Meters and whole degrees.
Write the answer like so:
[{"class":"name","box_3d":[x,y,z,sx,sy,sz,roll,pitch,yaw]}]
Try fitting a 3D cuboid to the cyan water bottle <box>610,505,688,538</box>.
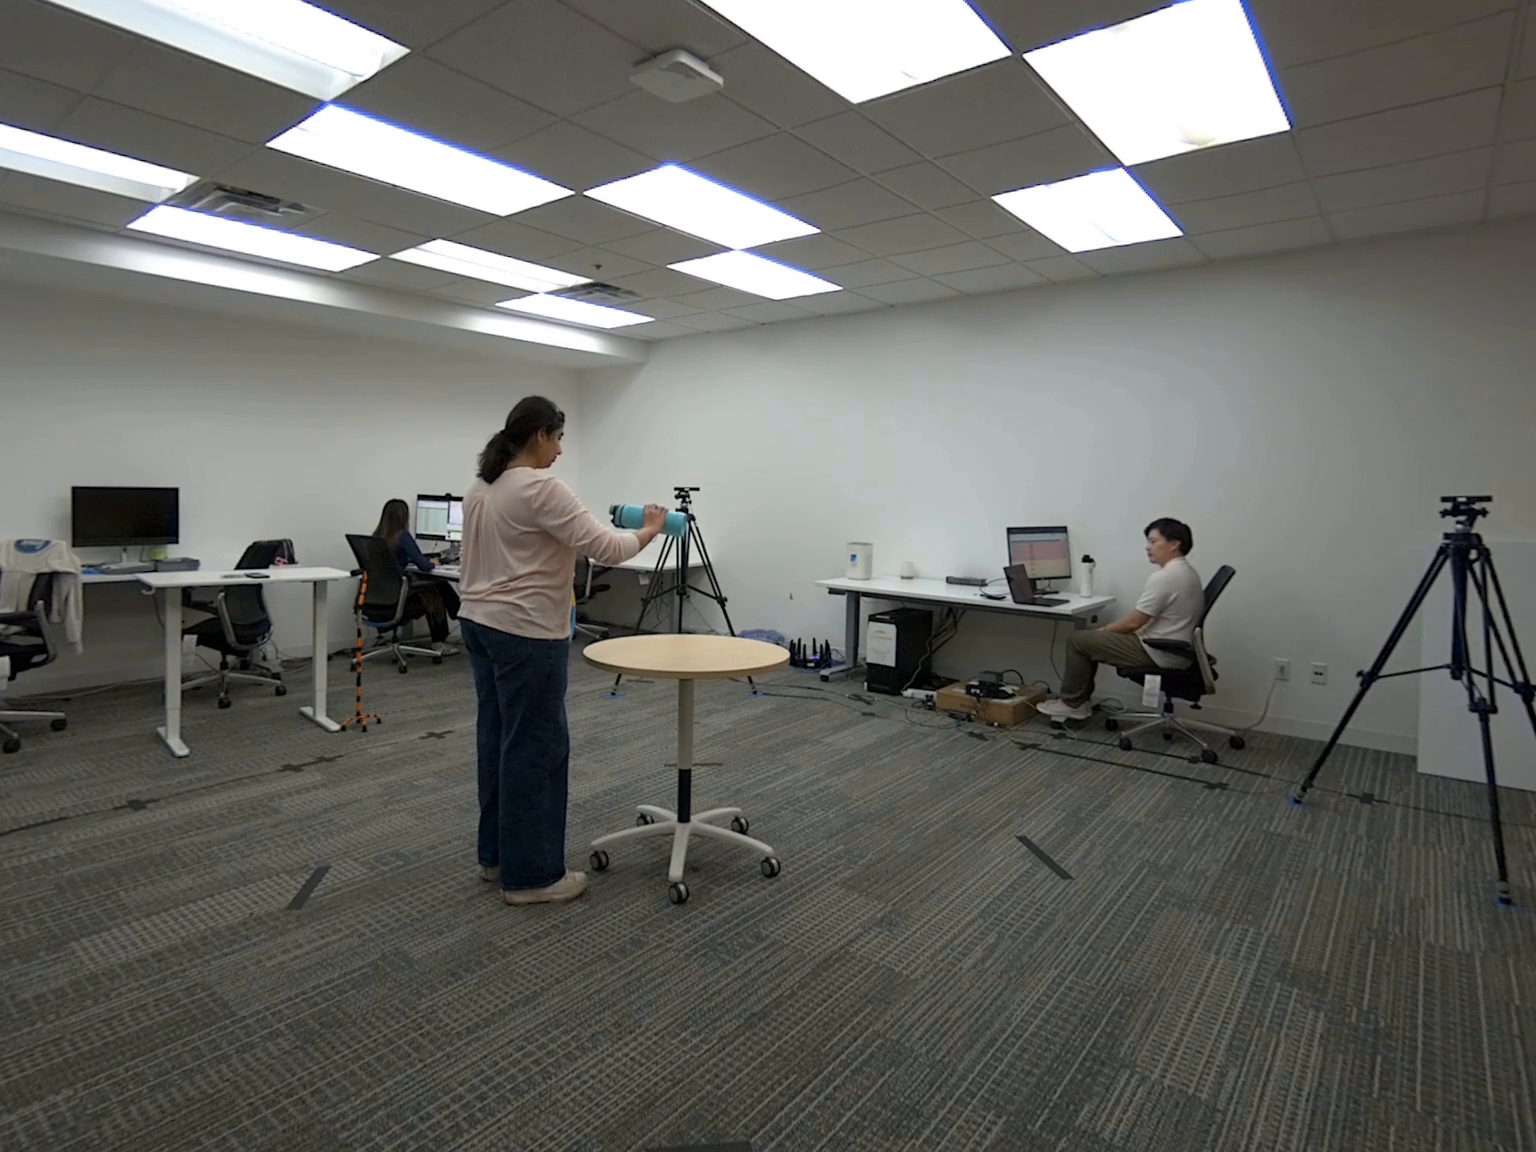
[{"class":"cyan water bottle","box_3d":[-0.458,-0.208,3.127,0.286,0.092,0.092,8,5,8]}]
